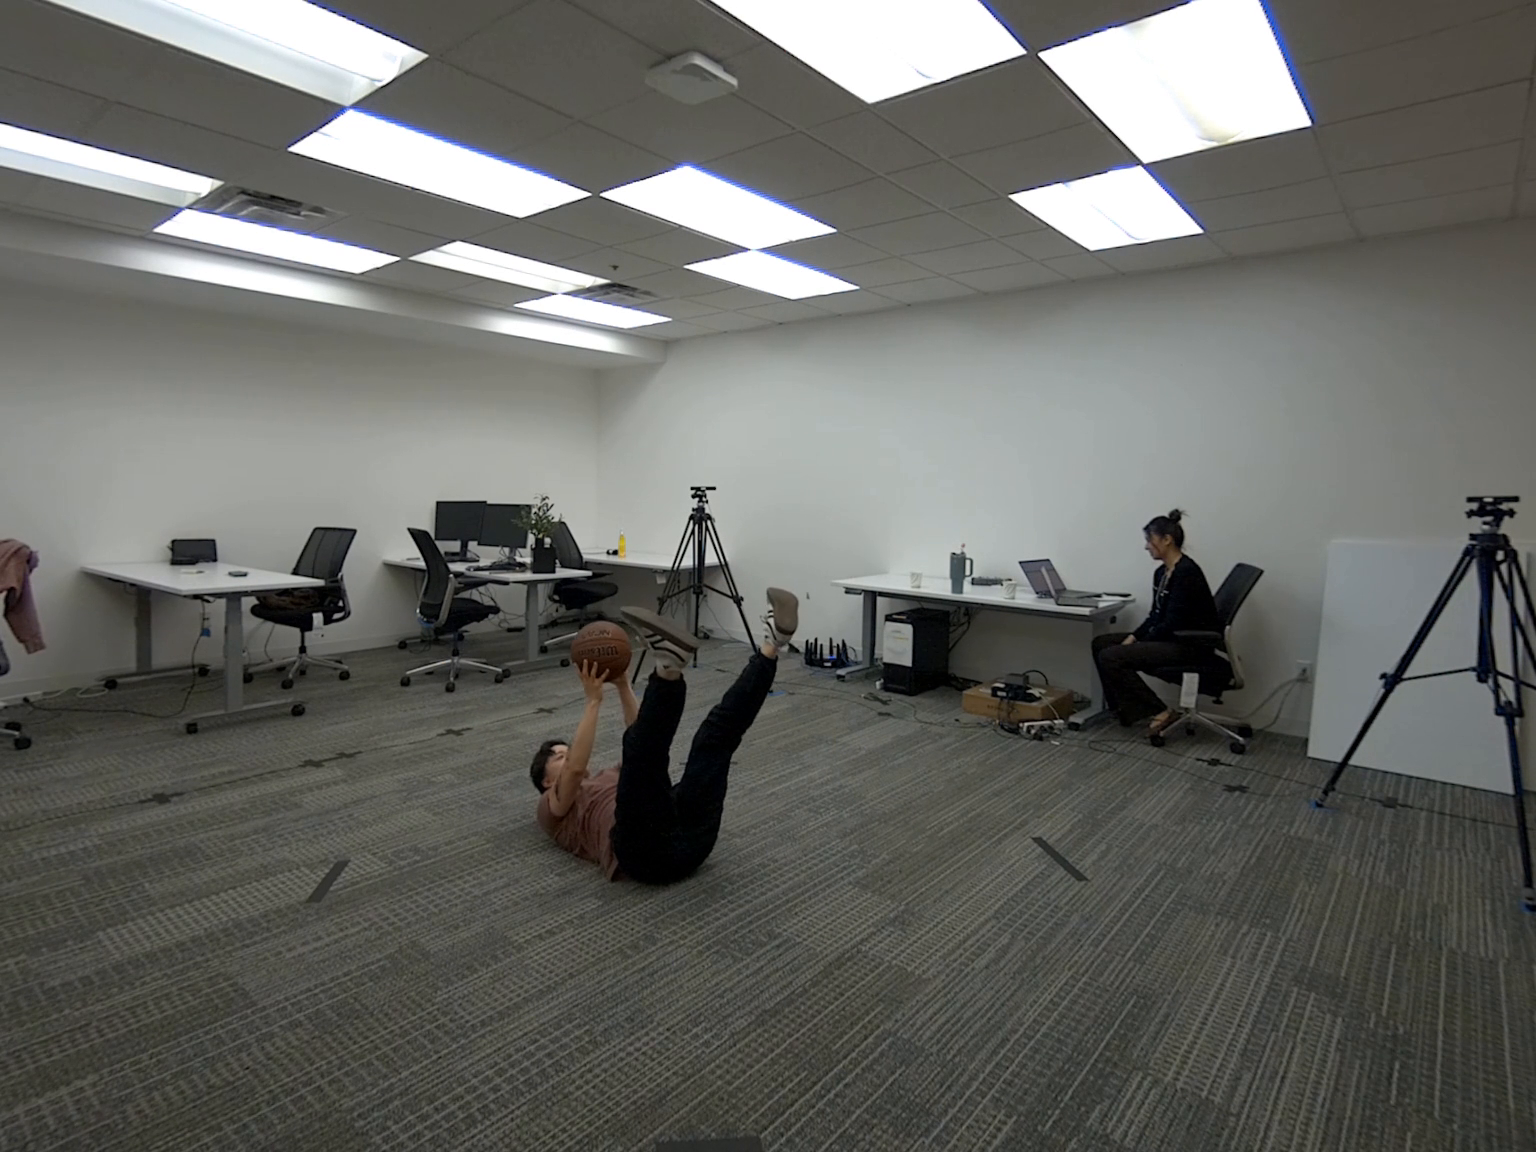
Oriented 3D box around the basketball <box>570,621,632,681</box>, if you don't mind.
[{"bbox_3d":[-0.658,0.294,3.287,0.235,0.235,0.237,1,5,-2],"label":"basketball"}]
